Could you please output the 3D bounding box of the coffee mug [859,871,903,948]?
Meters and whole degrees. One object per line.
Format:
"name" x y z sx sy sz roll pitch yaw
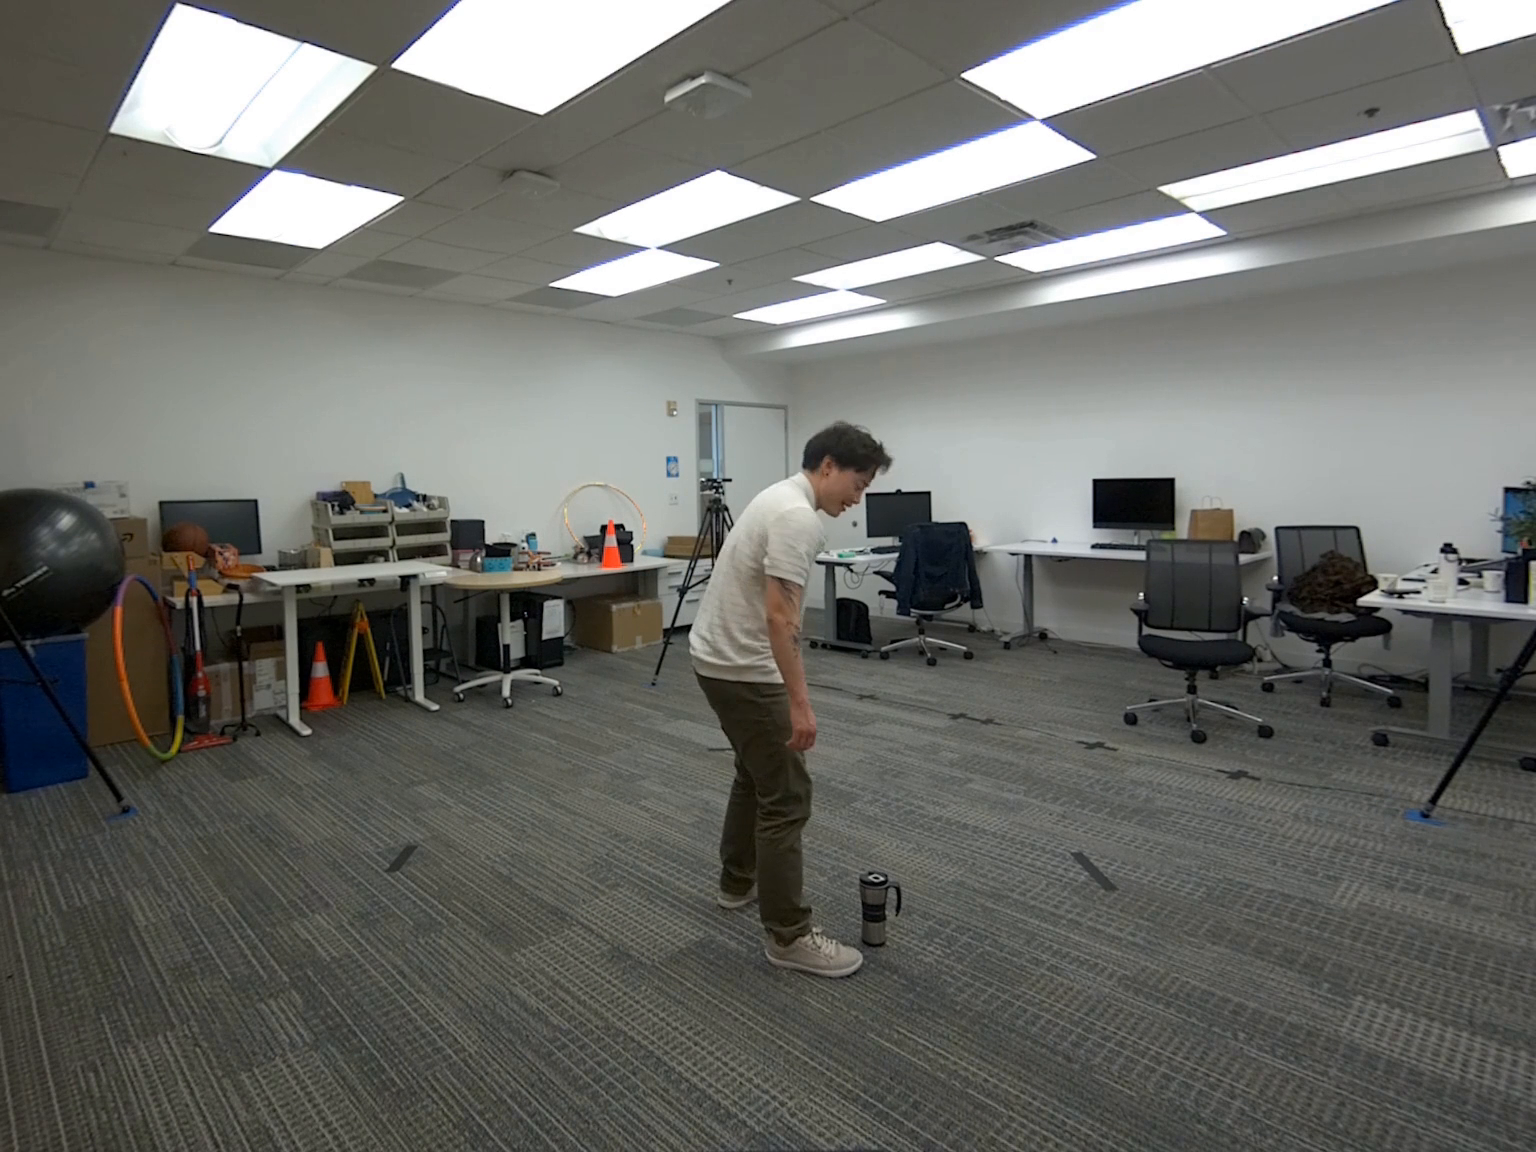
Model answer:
"coffee mug" 0.345 1.004 2.547 0.125 0.203 0.086 0 1 29
